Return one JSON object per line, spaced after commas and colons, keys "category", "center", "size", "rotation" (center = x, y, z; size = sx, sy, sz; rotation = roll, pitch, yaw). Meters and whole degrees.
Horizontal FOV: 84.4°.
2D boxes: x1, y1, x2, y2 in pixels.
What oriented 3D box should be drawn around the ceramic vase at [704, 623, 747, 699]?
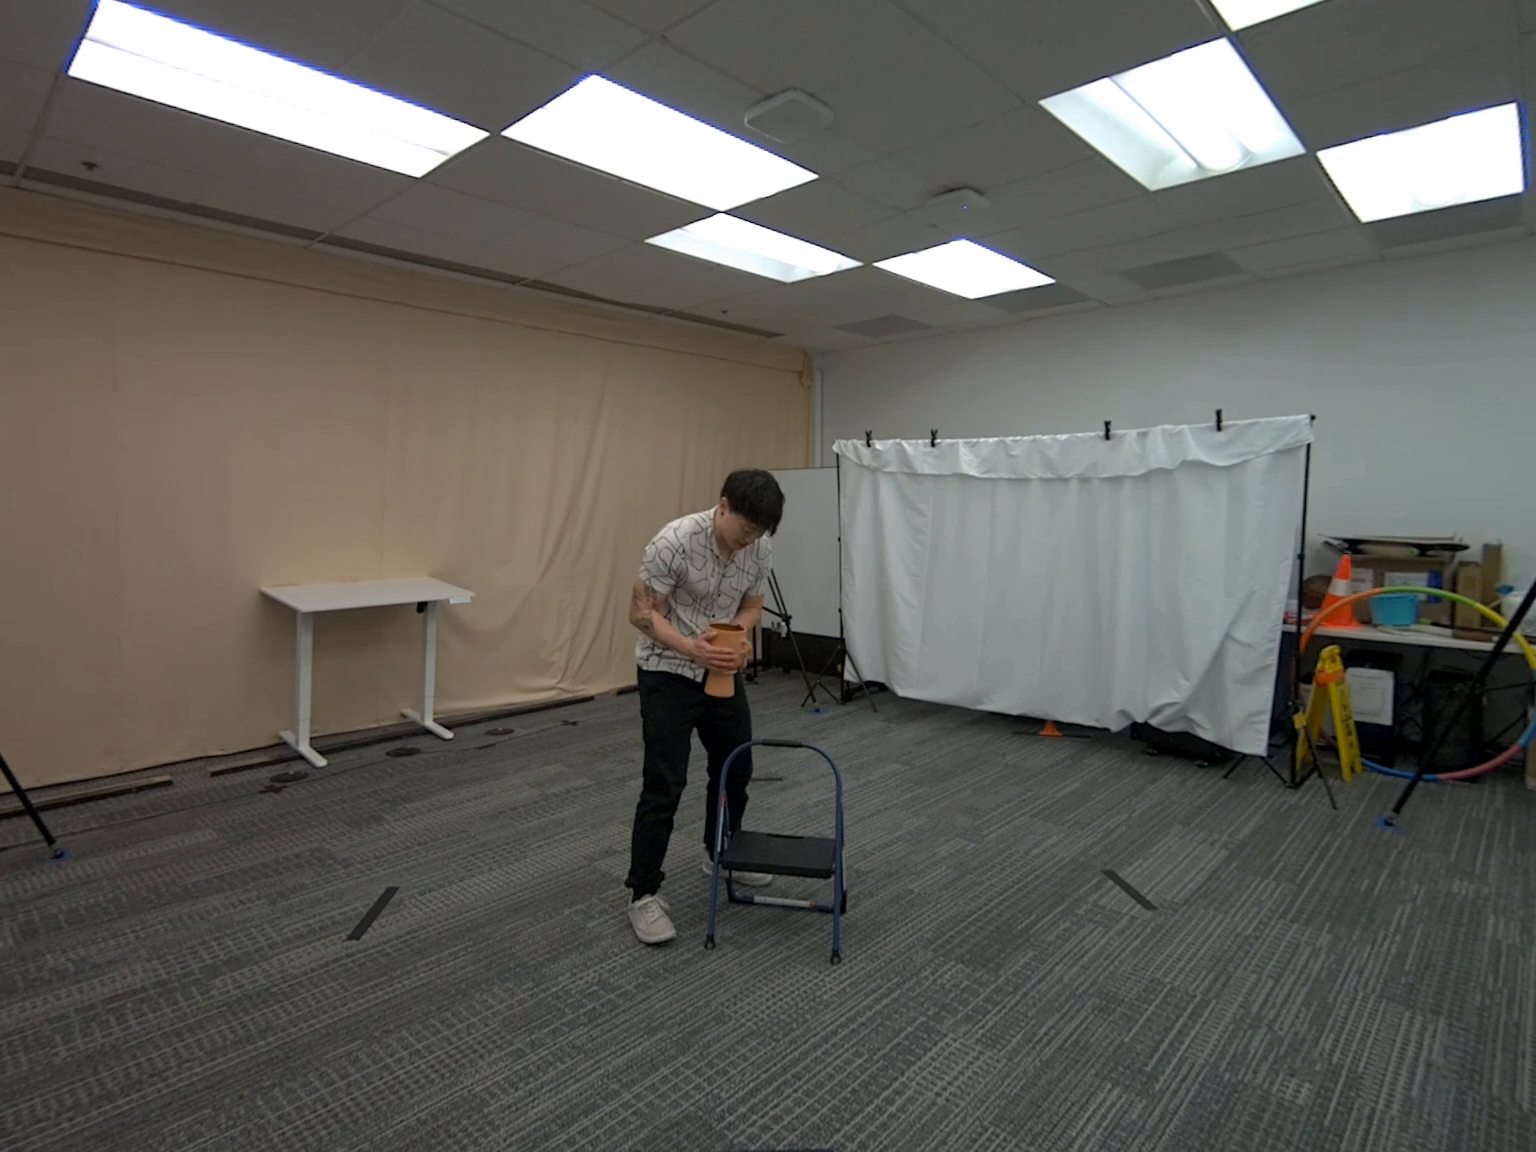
{"category": "ceramic vase", "center": [-0.142, 0.275, 2.745], "size": [0.132, 0.219, 0.162], "rotation": [4, 7, -19]}
